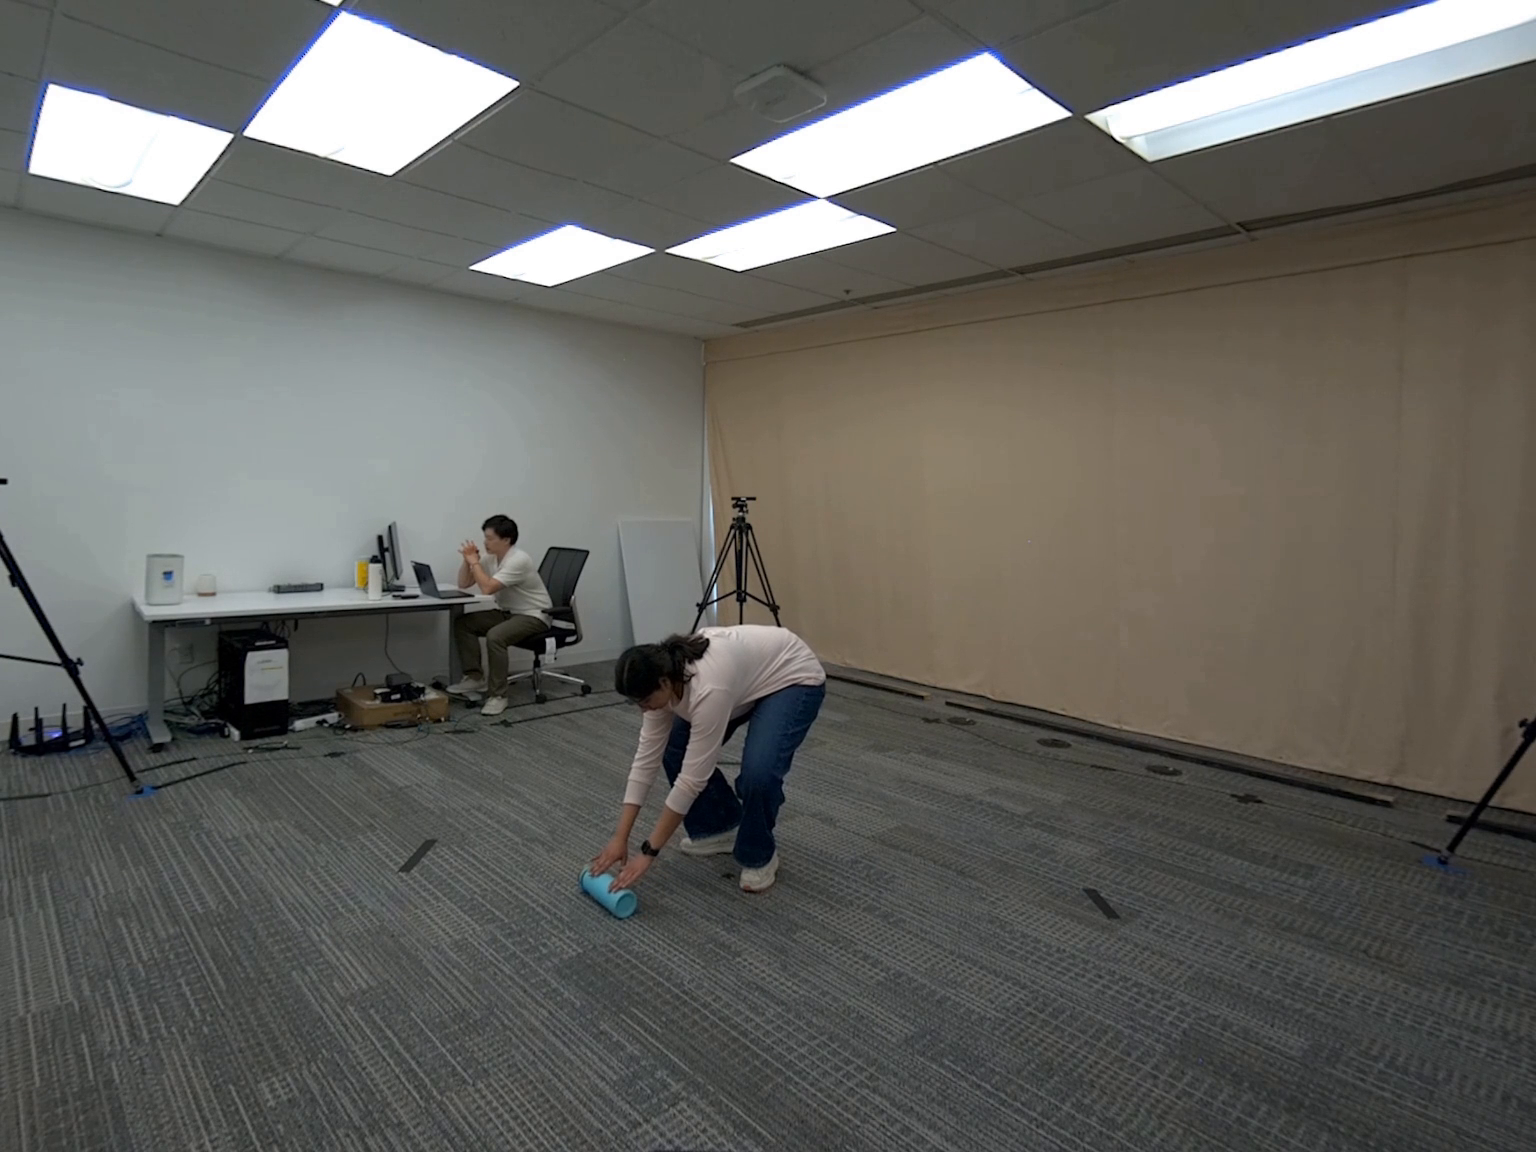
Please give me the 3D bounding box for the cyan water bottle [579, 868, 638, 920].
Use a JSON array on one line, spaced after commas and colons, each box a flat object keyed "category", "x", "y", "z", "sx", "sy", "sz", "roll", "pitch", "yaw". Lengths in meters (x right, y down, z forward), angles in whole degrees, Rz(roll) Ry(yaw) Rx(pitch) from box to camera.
[{"category": "cyan water bottle", "x": -0.558, "y": 1.067, "z": 2.881, "sx": 0.090, "sy": 0.092, "sz": 0.291, "roll": -2, "pitch": 7, "yaw": -38}]
